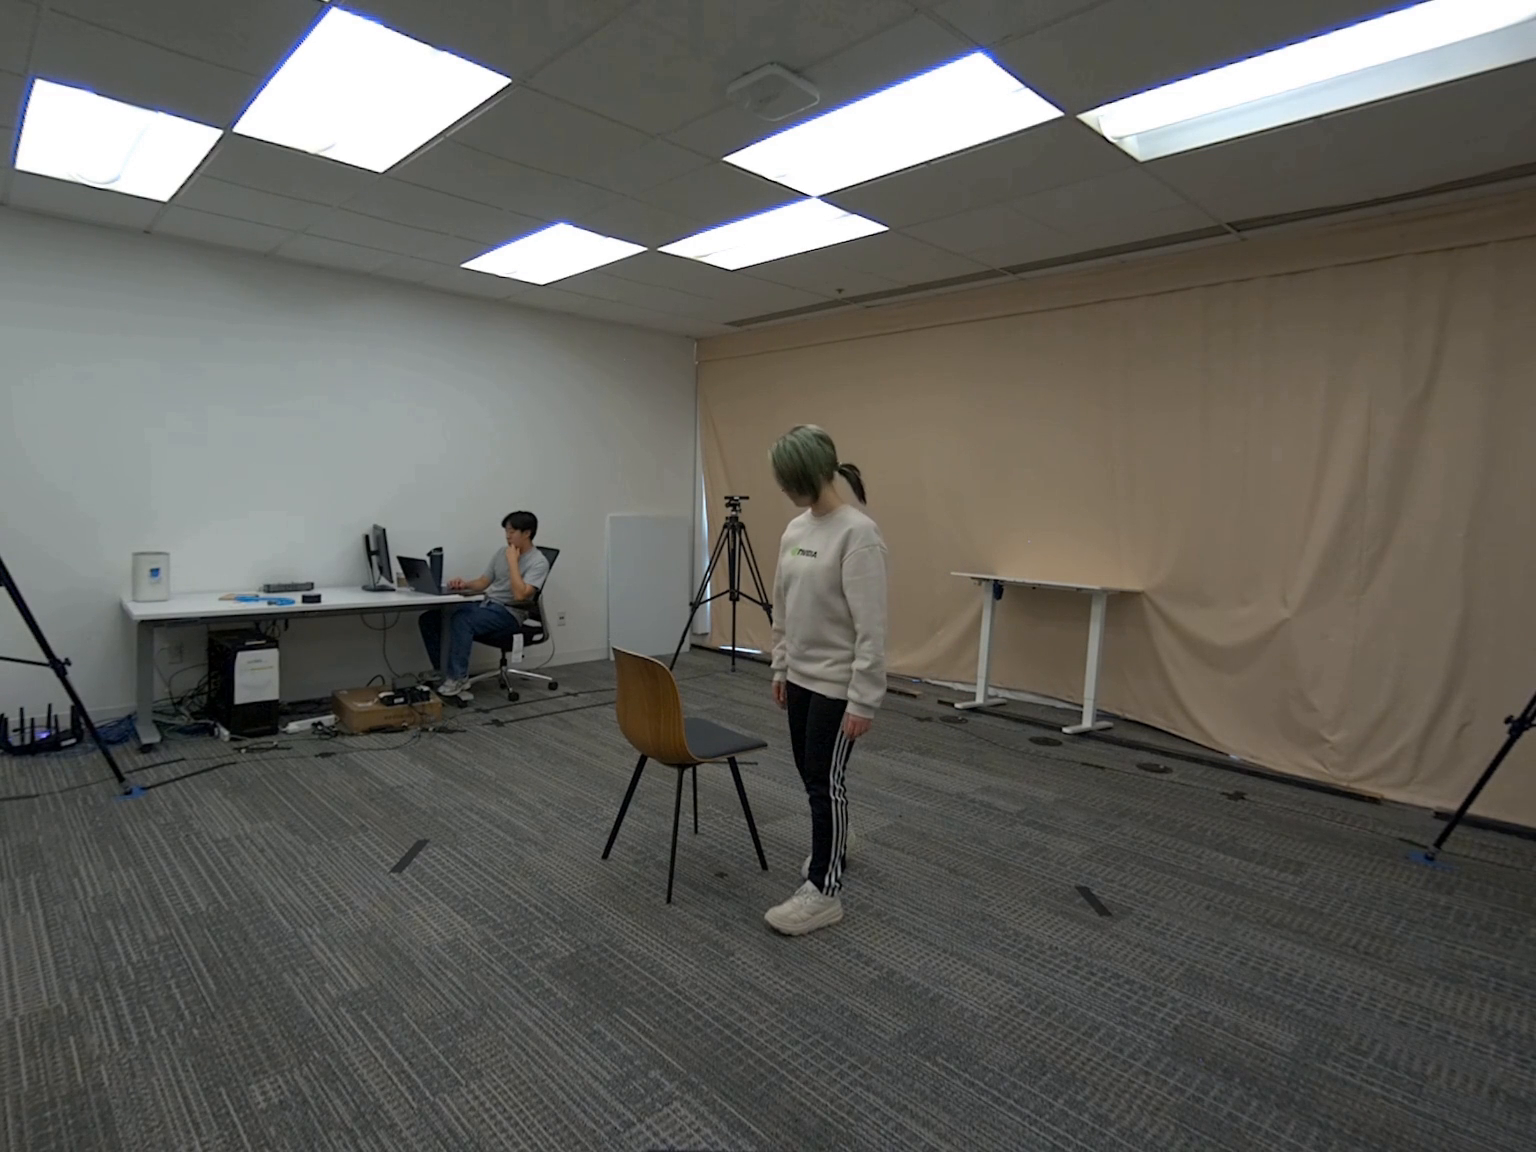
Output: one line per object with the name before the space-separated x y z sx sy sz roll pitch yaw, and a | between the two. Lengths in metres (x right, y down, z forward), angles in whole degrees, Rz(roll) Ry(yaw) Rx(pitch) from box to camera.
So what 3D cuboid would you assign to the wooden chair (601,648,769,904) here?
wooden chair | -0.307 0.666 3.165 0.512 0.873 0.490 -7 8 -40
